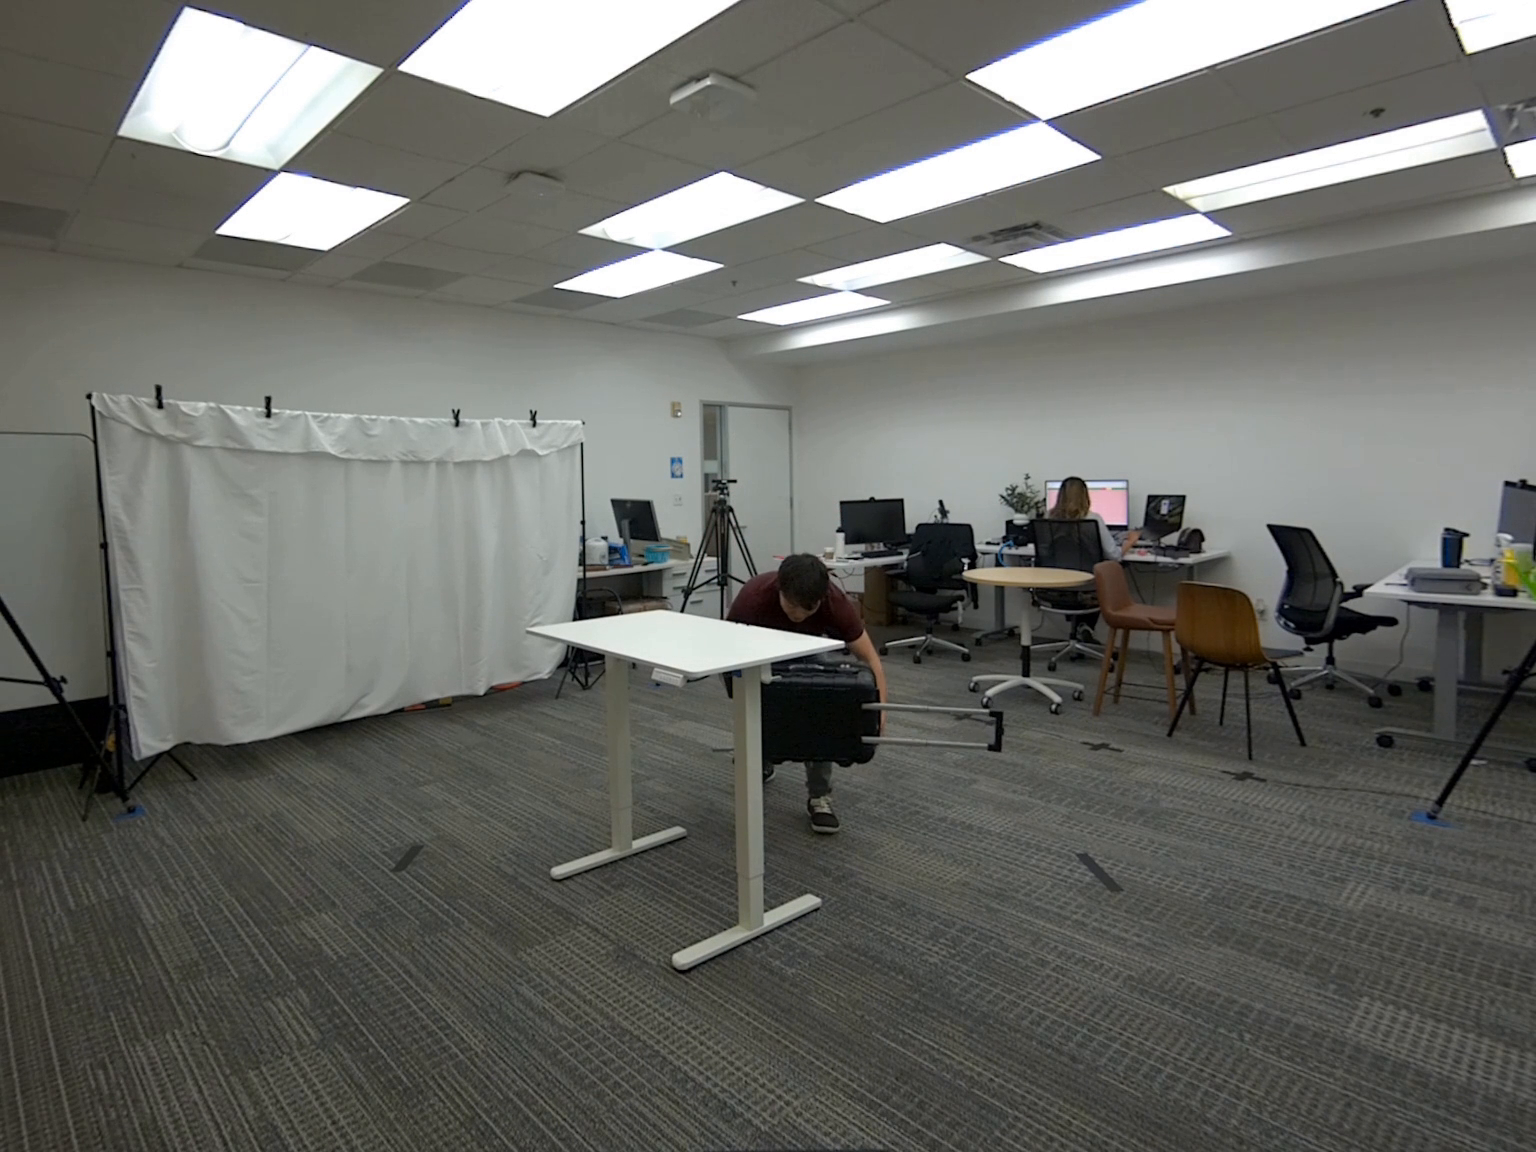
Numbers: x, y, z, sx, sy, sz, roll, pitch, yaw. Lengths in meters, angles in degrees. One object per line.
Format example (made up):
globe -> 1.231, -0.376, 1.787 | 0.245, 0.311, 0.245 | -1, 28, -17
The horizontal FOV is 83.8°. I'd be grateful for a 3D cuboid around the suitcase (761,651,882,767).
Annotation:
suitcase -> 0.355, 0.510, 3.237 | 0.986, 0.381, 0.257 | -1, 9, 8
